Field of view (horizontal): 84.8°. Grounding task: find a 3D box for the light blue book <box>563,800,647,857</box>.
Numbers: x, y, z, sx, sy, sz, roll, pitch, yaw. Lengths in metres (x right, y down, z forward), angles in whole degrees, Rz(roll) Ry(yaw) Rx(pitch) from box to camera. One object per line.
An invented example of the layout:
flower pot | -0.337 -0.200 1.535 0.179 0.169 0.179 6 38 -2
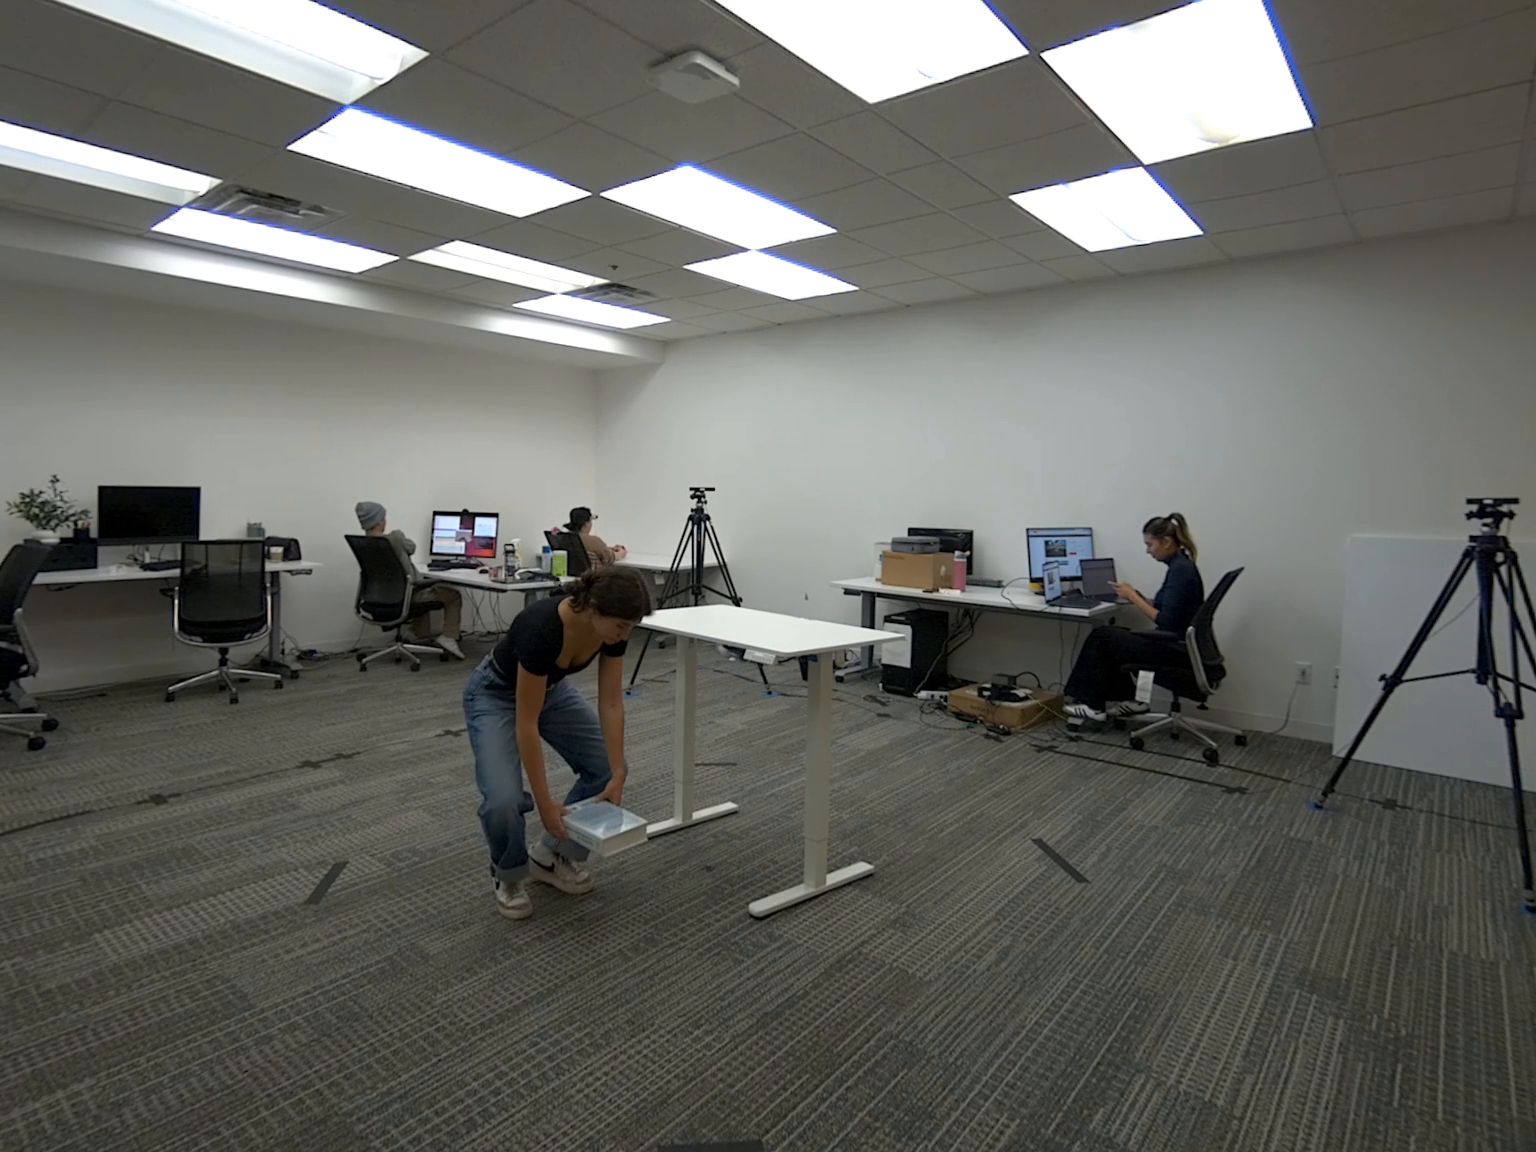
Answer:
light blue book | -0.542 0.784 2.661 0.270 0.059 0.186 8 9 39
